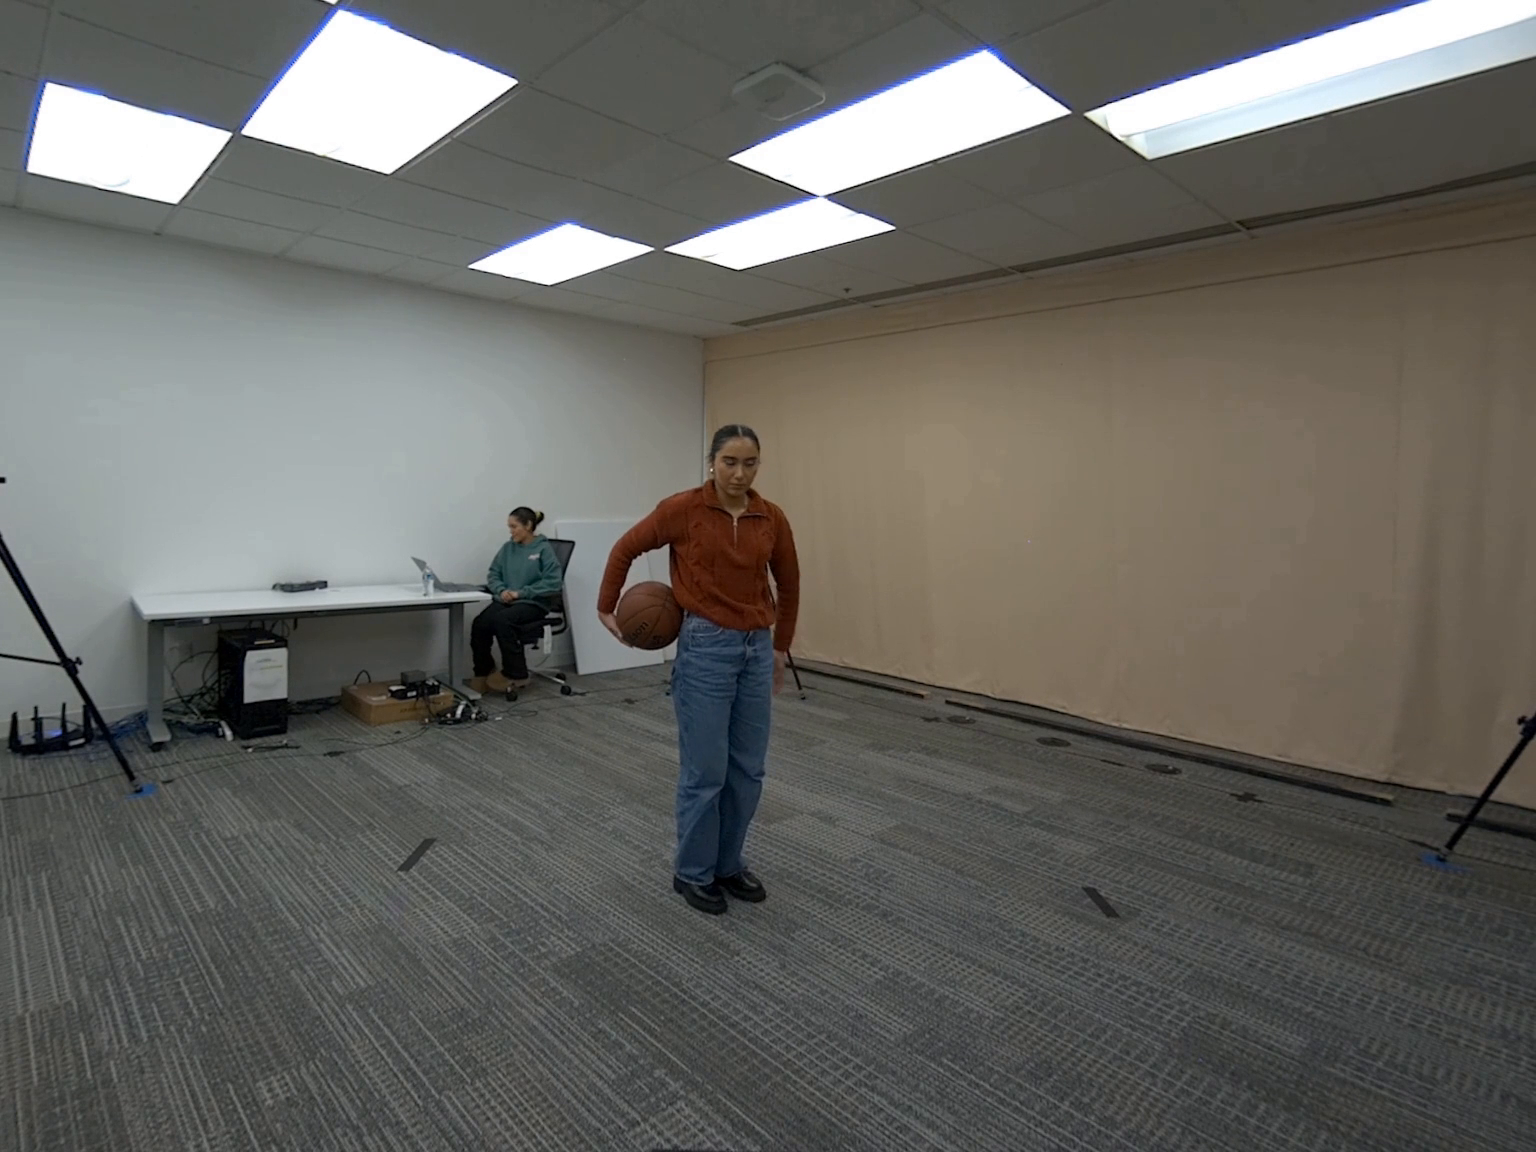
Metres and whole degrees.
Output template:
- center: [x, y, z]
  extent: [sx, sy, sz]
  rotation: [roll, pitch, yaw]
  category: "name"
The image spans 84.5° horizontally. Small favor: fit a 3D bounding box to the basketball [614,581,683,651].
- center: [-0.393, 0.136, 2.876]
  extent: [0.236, 0.235, 0.237]
  rotation: [1, 4, -1]
  category: "basketball"
